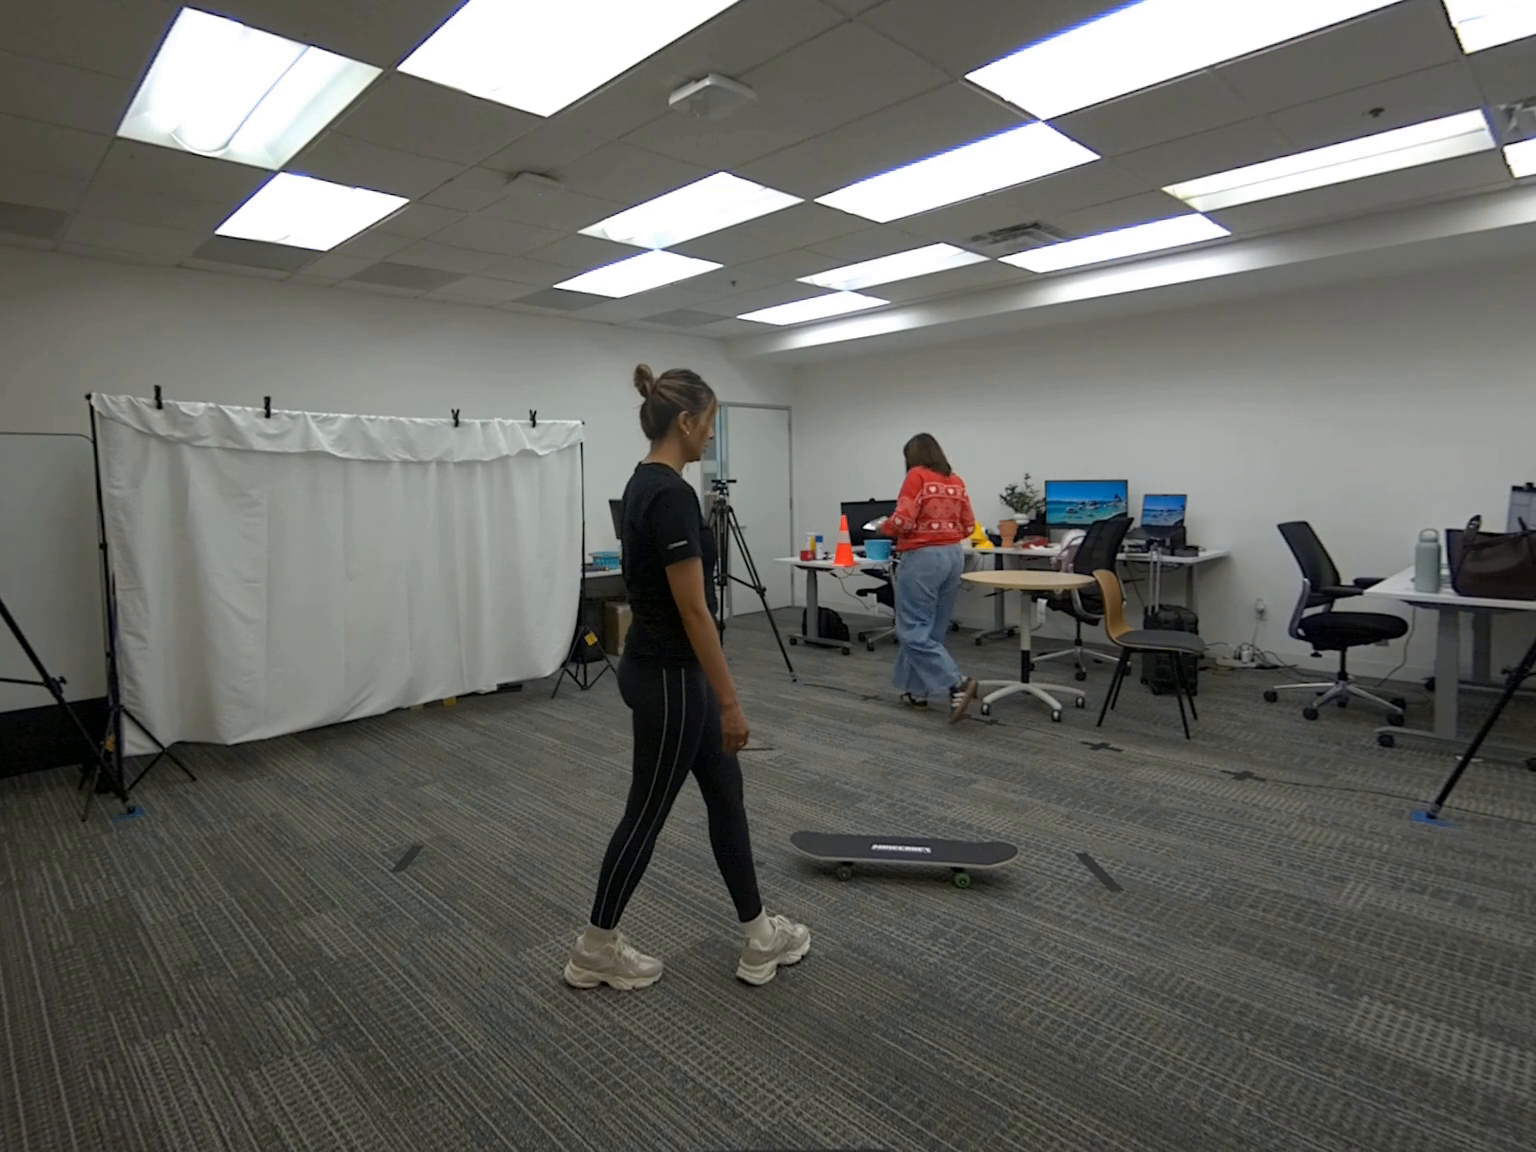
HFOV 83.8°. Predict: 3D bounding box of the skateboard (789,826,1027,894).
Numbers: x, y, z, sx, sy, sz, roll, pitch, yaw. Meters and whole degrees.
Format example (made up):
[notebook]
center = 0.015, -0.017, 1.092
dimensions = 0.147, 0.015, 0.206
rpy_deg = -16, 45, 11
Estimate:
[skateboard]
center = 0.477, 0.990, 3.010
dimensions = 0.793, 0.110, 0.192
rpy_deg = 0, 5, 10
